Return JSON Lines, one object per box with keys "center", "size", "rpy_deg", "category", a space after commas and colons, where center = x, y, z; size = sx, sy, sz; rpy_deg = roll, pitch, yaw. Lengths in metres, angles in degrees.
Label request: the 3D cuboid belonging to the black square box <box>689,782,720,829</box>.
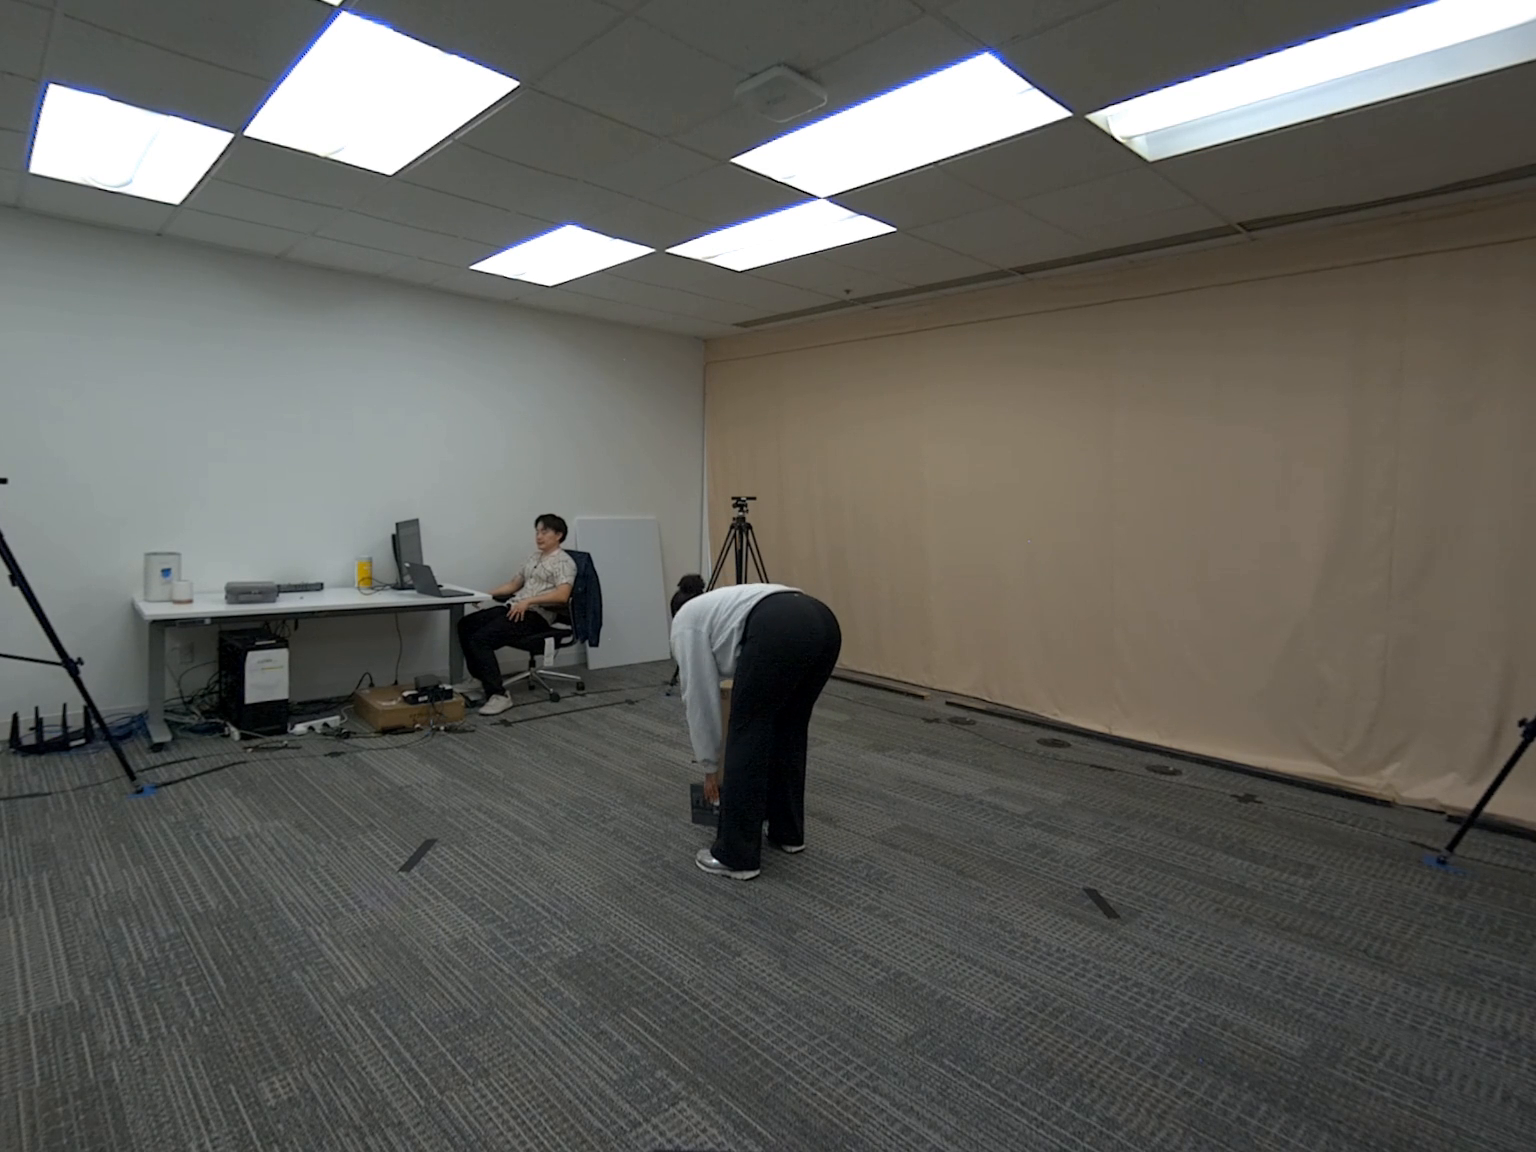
{"center": [-0.177, 0.889, 3.395], "size": [0.222, 0.157, 0.221], "rpy_deg": [3, -8, -41], "category": "black square box"}
